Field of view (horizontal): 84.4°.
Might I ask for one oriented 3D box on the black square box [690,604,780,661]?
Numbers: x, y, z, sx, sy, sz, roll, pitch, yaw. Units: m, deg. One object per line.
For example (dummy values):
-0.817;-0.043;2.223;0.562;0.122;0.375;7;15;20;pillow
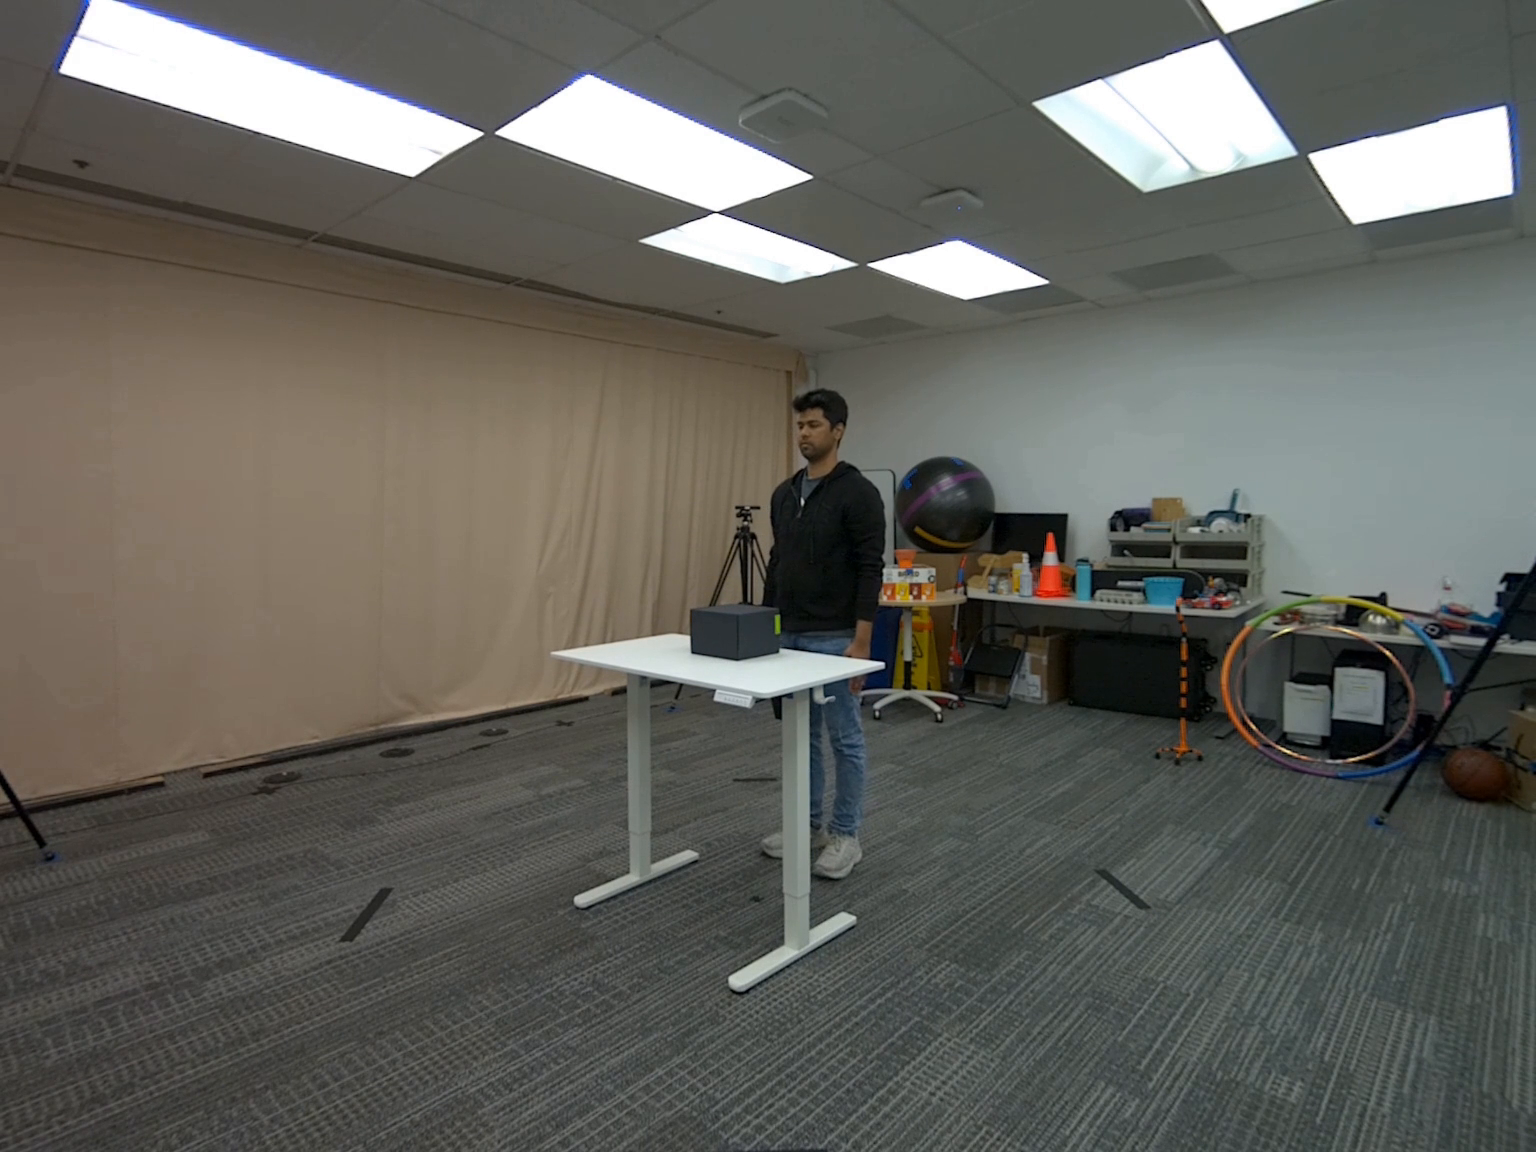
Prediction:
-0.112;0.189;2.913;0.235;0.155;0.210;3;5;43;black square box
